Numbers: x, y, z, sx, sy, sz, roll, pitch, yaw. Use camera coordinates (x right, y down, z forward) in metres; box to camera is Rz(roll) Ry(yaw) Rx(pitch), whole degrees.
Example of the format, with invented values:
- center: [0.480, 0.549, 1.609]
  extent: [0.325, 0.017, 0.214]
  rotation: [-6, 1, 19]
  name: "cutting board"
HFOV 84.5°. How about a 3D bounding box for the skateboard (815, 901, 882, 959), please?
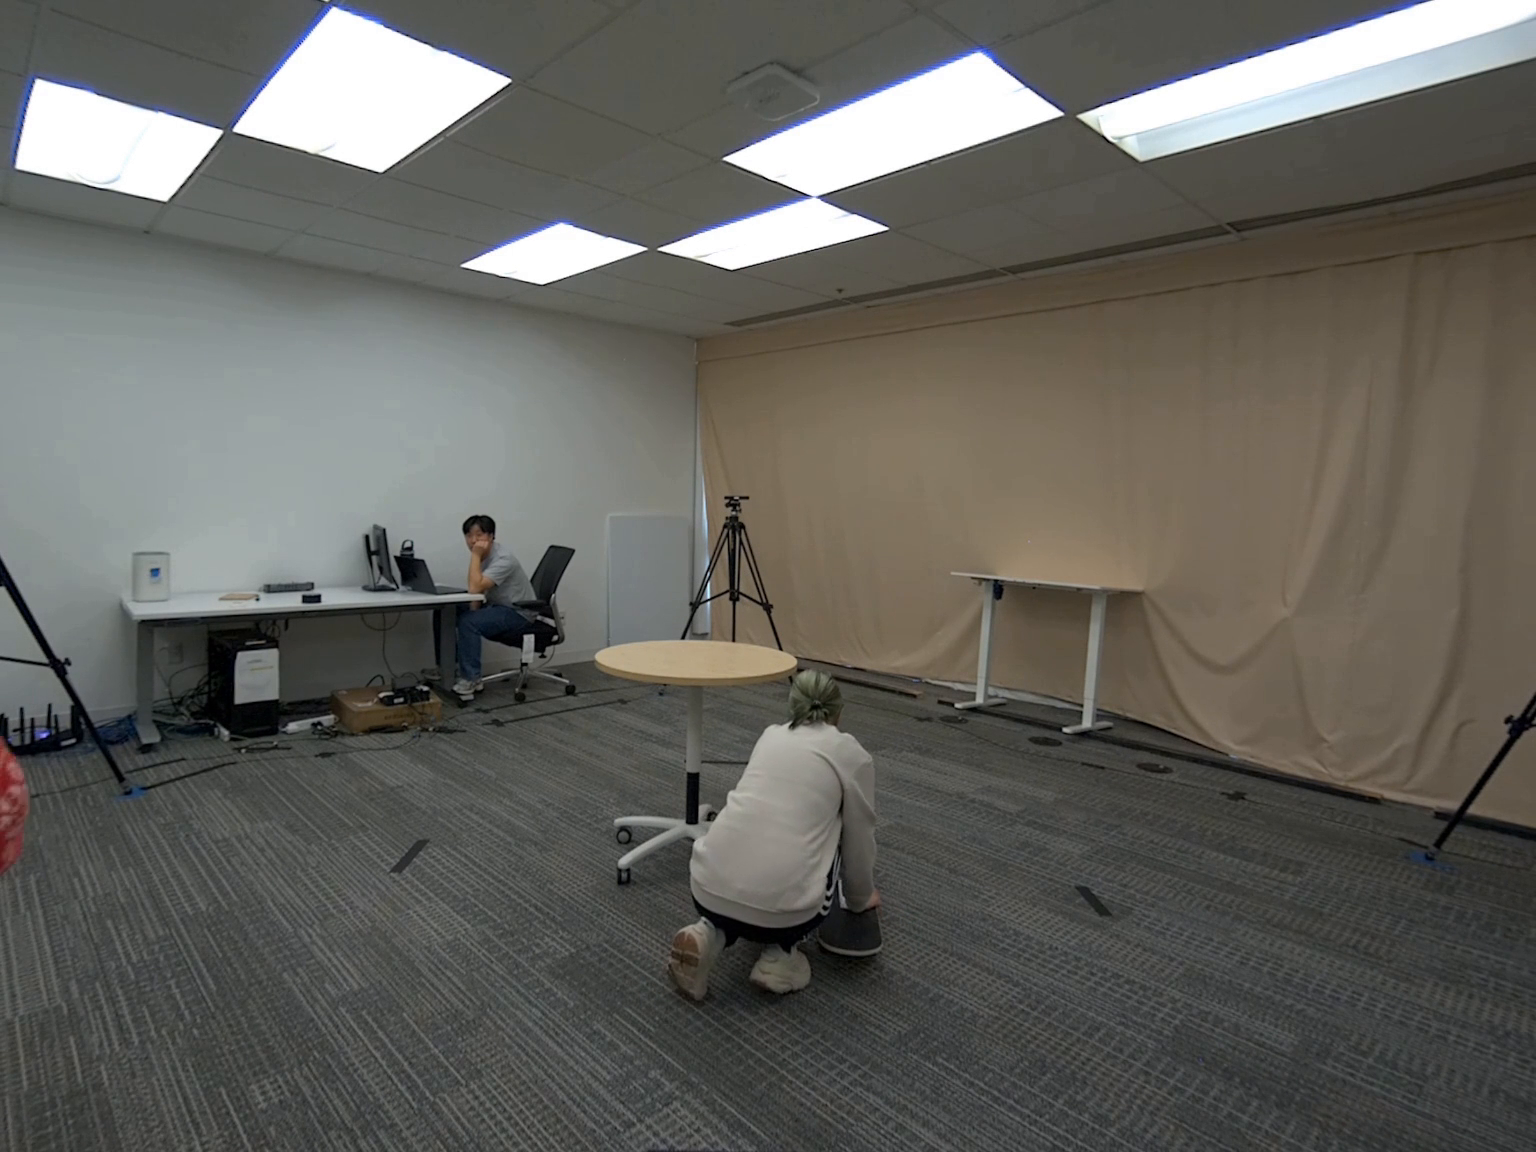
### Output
- center: [0.243, 1.083, 2.802]
  extent: [0.194, 0.110, 0.786]
  rotation: [1, 6, 2]
  name: "skateboard"
